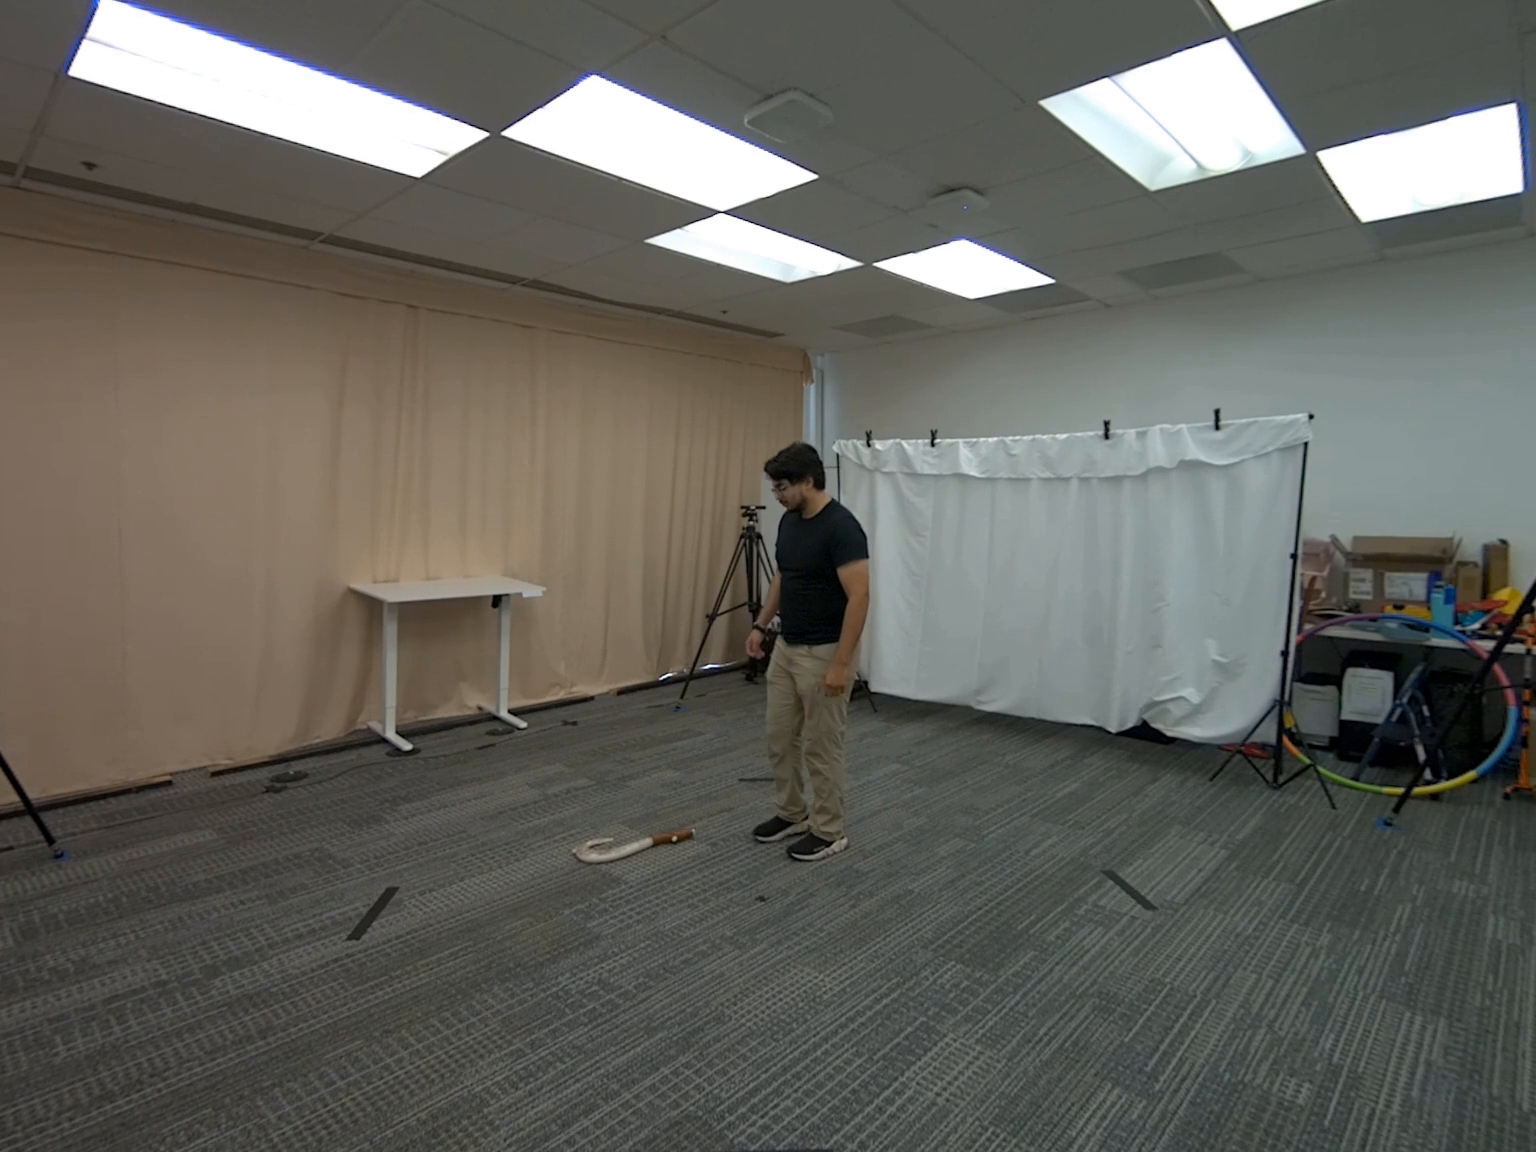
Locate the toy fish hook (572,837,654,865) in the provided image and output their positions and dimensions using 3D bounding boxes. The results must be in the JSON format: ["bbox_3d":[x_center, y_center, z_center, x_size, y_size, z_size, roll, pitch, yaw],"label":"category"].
[{"bbox_3d":[-0.550,1.092,3.461,0.493,0.048,0.231,-3,5,-30],"label":"toy fish hook"}]
